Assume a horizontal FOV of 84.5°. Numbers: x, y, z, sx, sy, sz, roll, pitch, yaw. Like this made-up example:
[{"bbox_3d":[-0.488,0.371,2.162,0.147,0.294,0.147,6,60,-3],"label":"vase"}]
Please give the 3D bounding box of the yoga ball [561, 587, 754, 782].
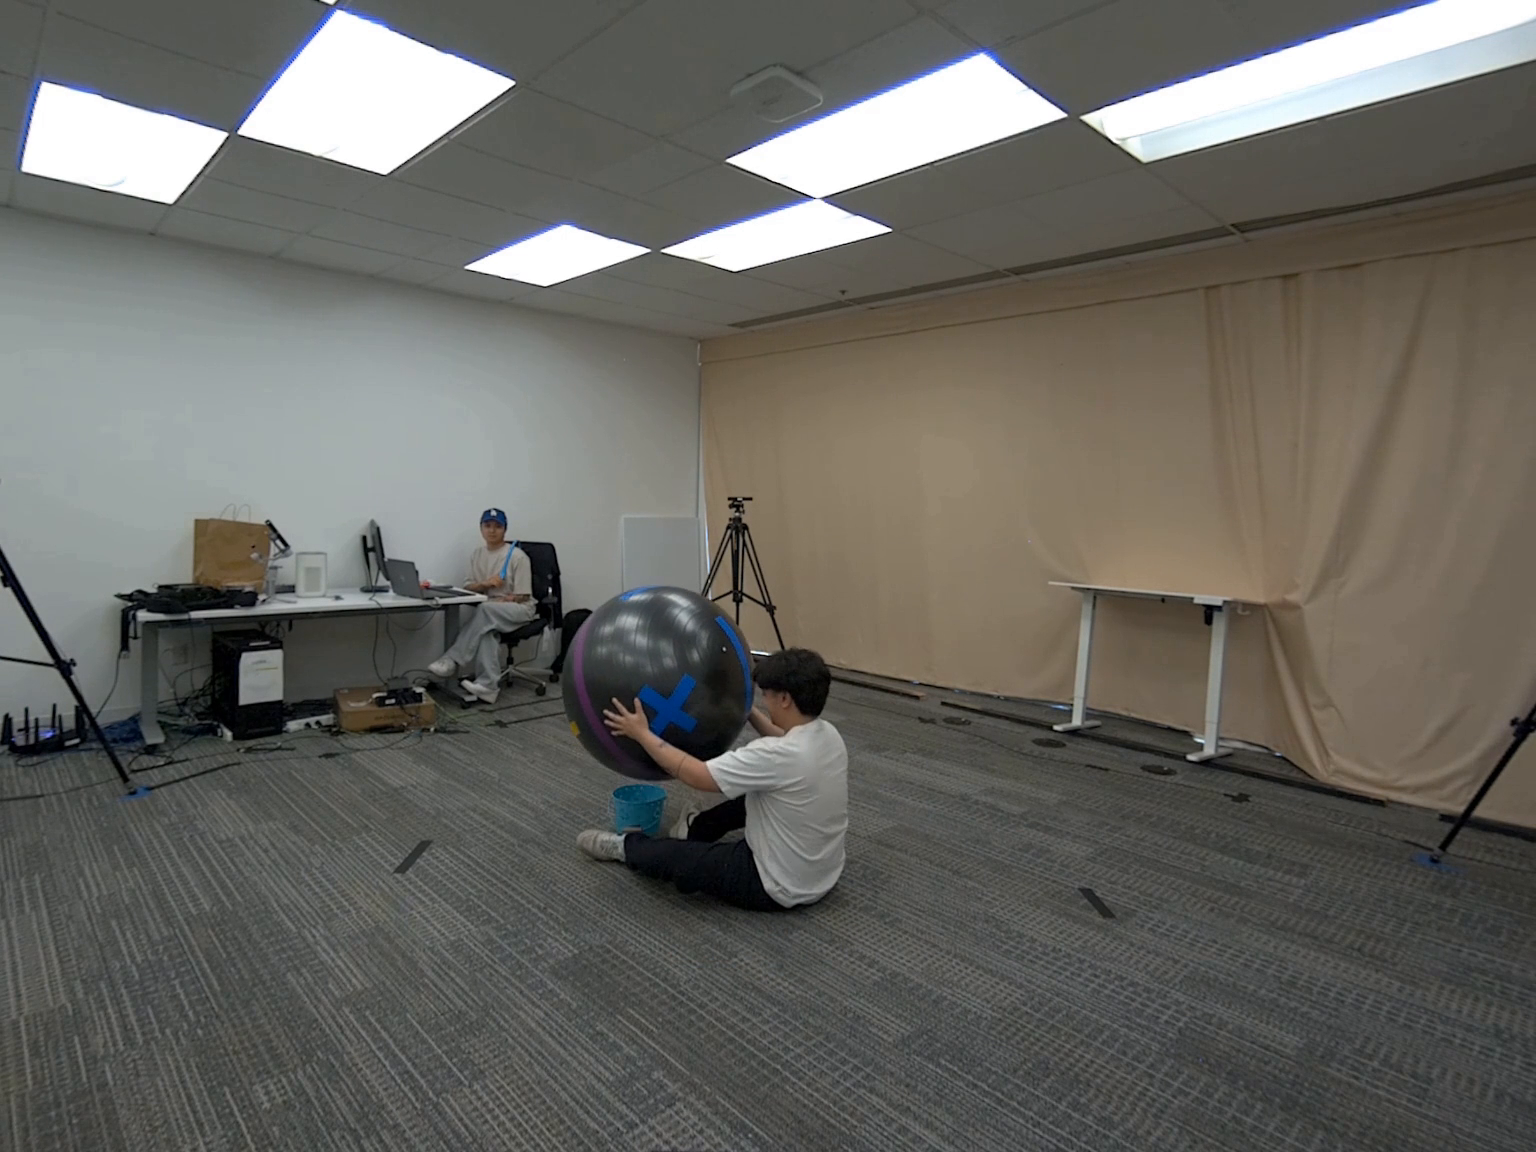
[{"bbox_3d":[-0.433,0.419,3.329,0.757,0.756,0.760,1,4,-1],"label":"yoga ball"}]
